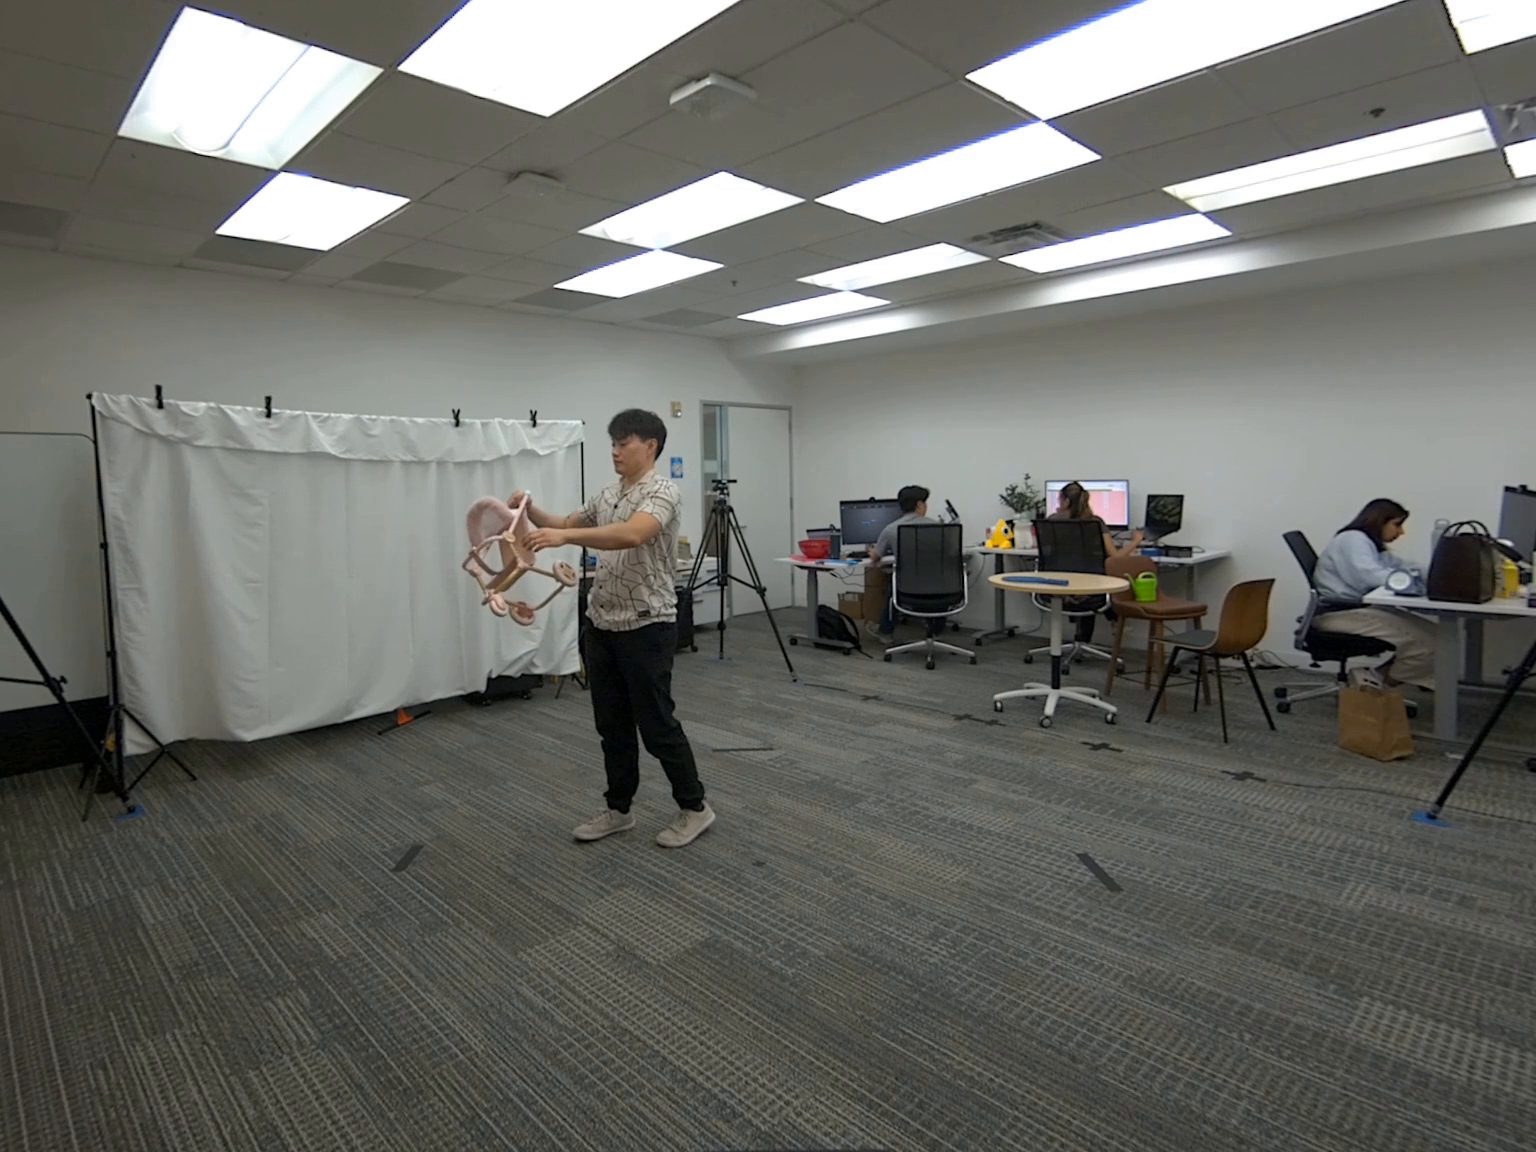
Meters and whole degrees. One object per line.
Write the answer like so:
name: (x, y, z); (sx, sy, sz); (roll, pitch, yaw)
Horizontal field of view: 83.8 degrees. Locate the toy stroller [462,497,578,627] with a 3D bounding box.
toy stroller: (-0.930, -0.069, 3.065); (0.282, 0.550, 0.331); (-40, -26, 26)
